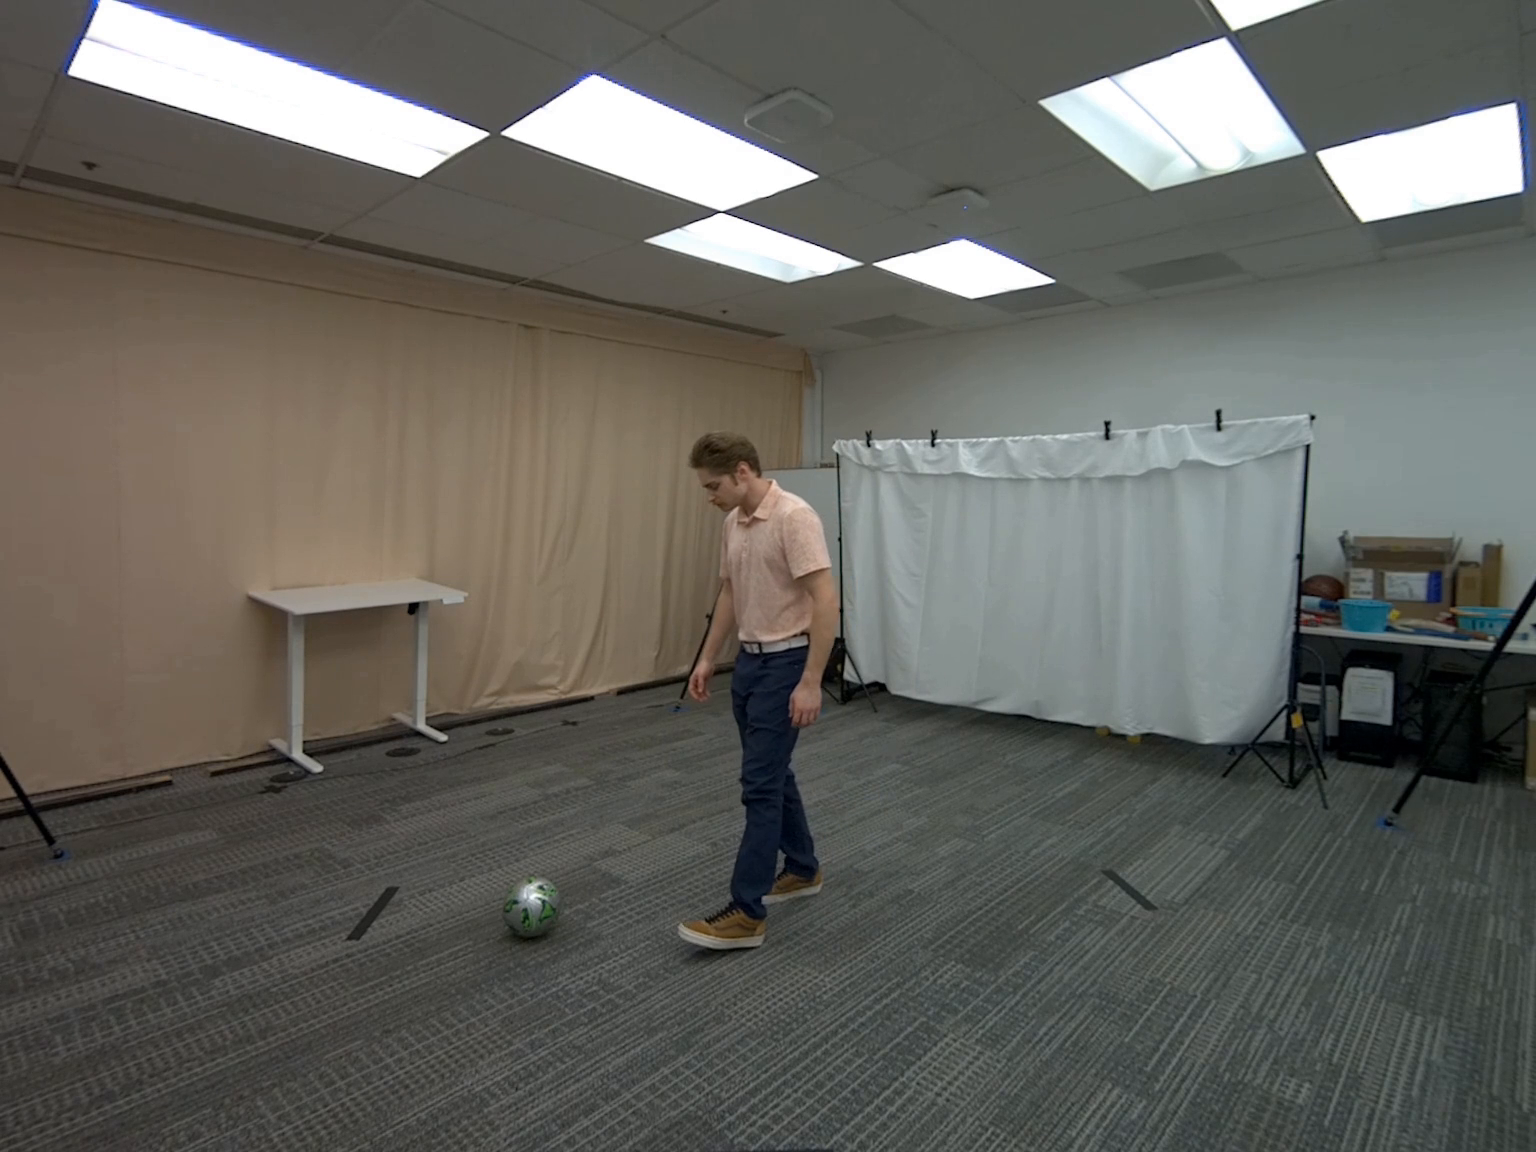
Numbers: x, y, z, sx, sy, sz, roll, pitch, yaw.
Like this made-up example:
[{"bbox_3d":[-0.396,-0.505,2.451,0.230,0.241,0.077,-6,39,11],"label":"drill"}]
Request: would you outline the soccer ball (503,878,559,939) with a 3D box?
[{"bbox_3d":[-0.775,1.083,2.738,0.187,0.187,0.188,0,4,-2],"label":"soccer ball"}]
